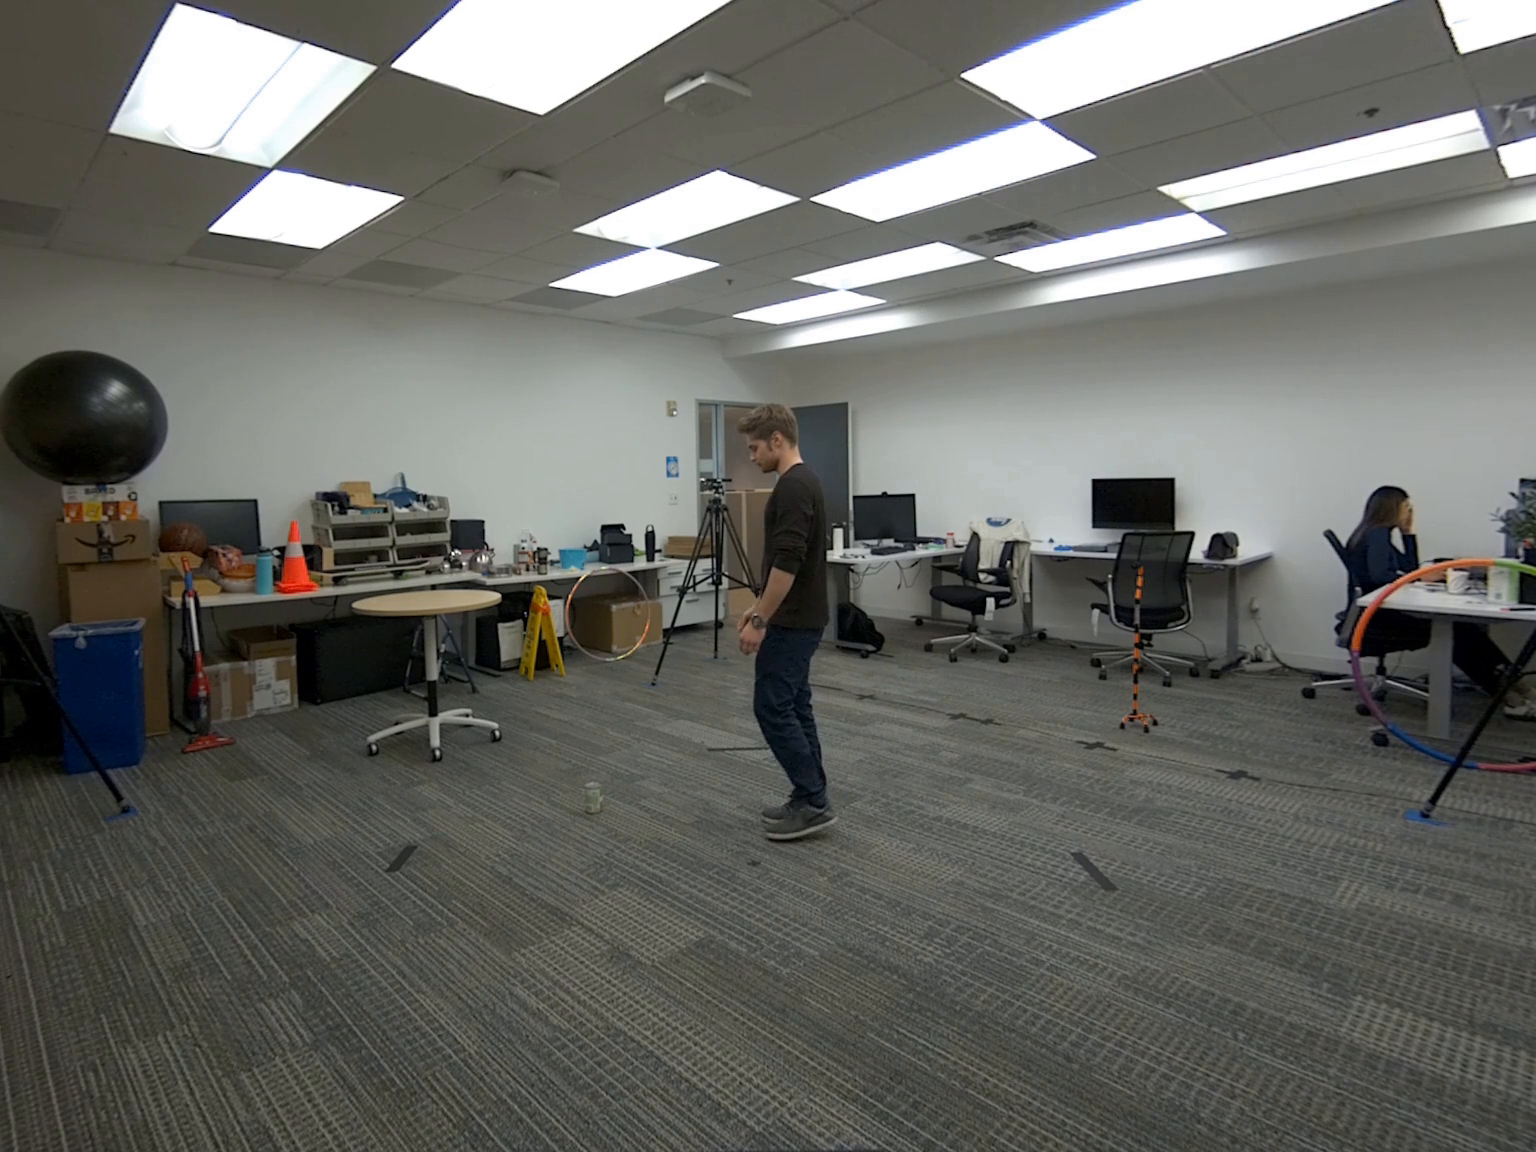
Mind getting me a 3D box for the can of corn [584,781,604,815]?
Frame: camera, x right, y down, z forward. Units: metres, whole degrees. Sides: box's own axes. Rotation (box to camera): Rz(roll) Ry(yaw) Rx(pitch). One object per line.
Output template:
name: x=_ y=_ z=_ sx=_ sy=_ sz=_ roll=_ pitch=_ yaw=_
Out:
can of corn: x=-0.735 y=0.938 z=3.630 sx=0.074 sy=0.110 sz=0.075 roll=-2 pitch=6 yaw=-1
